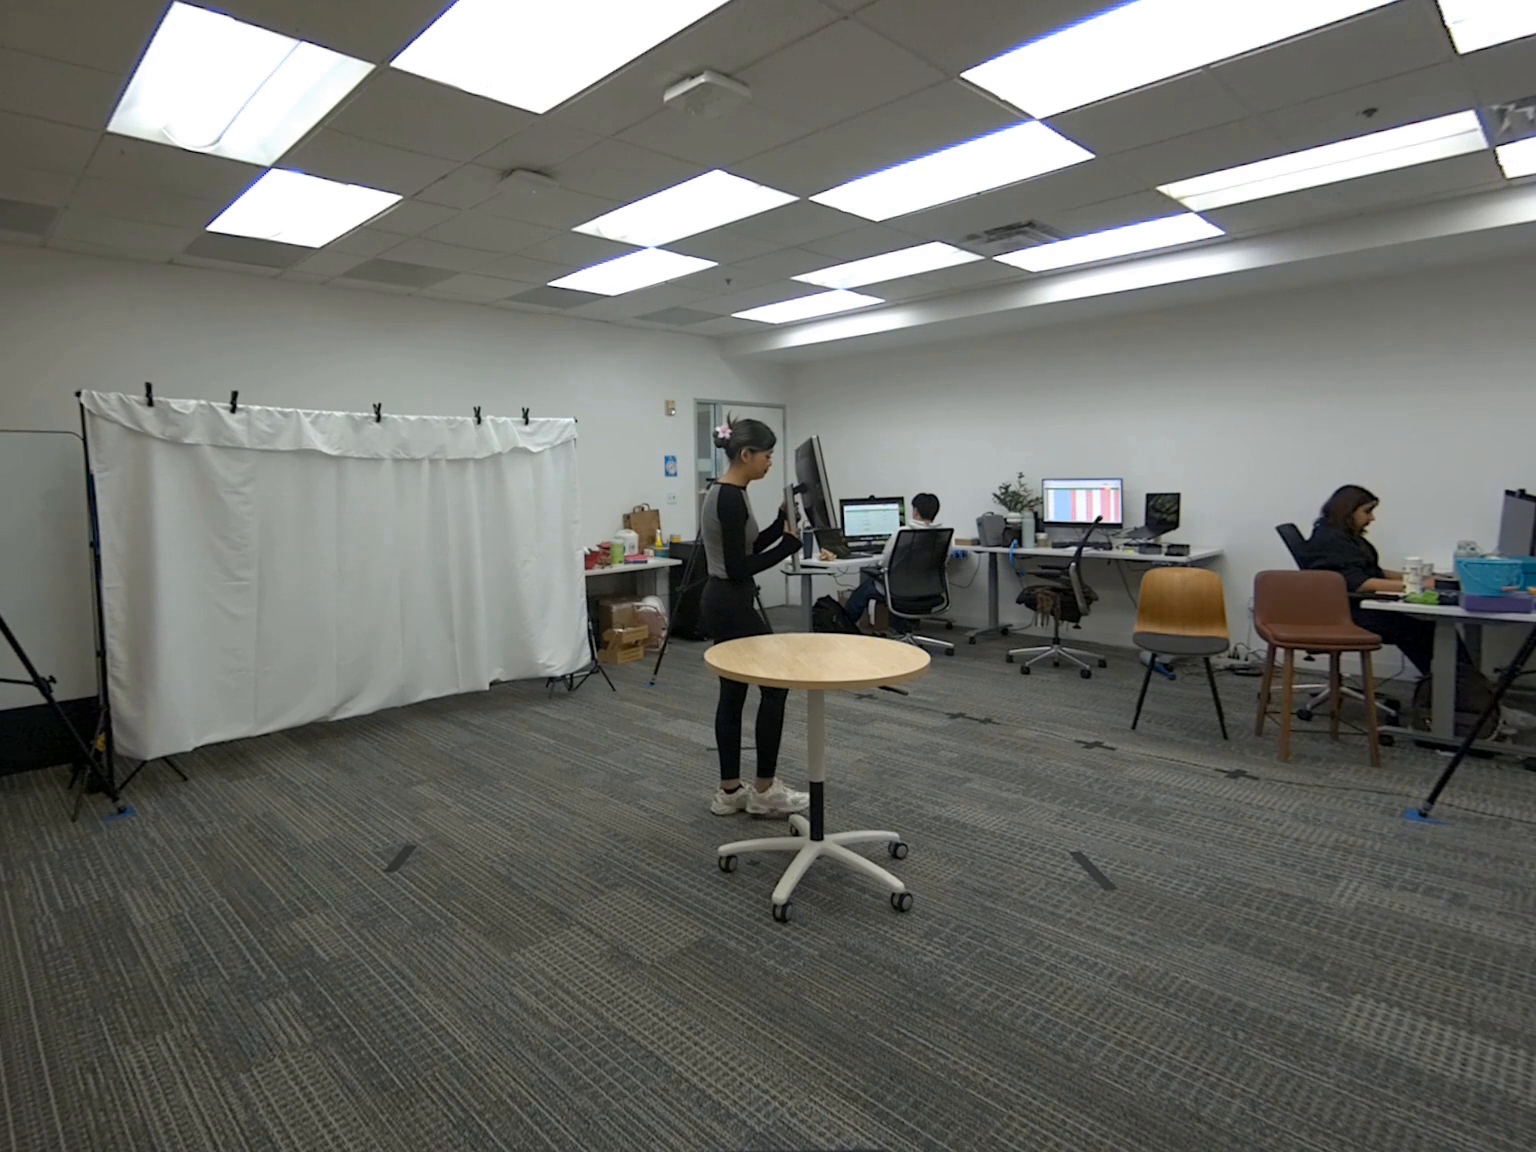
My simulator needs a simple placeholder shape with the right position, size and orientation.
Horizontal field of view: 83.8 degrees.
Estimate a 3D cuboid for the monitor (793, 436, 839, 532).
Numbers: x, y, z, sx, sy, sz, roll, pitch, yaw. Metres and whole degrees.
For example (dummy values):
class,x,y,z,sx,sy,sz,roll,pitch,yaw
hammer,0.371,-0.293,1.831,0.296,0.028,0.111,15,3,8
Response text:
class,x,y,z,sx,sy,sz,roll,pitch,yaw
monitor,0.160,-0.275,3.518,0.186,0.522,0.542,-2,2,-6
